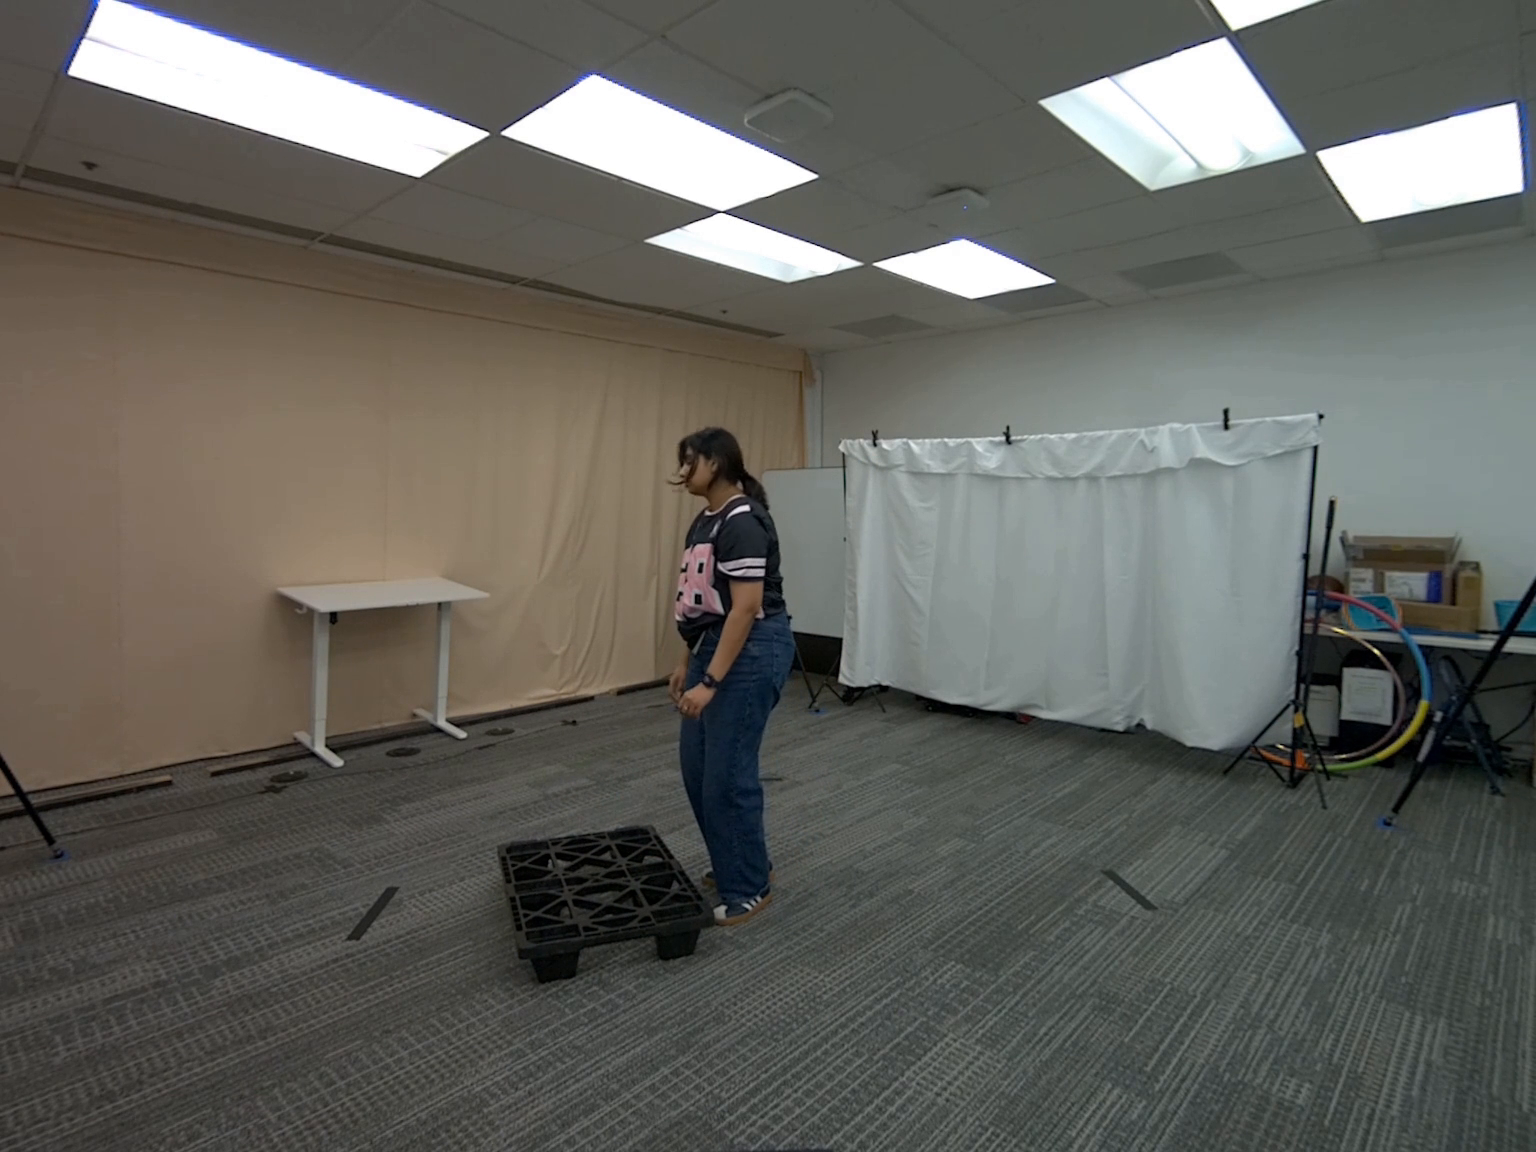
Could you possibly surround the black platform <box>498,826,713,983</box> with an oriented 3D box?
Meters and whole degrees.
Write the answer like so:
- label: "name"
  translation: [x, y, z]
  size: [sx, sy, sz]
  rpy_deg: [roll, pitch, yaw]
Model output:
- label: "black platform"
  translation: [-0.584, 1.090, 2.876]
  size: [0.593, 0.143, 0.824]
  rpy_deg: [-2, 5, -21]
